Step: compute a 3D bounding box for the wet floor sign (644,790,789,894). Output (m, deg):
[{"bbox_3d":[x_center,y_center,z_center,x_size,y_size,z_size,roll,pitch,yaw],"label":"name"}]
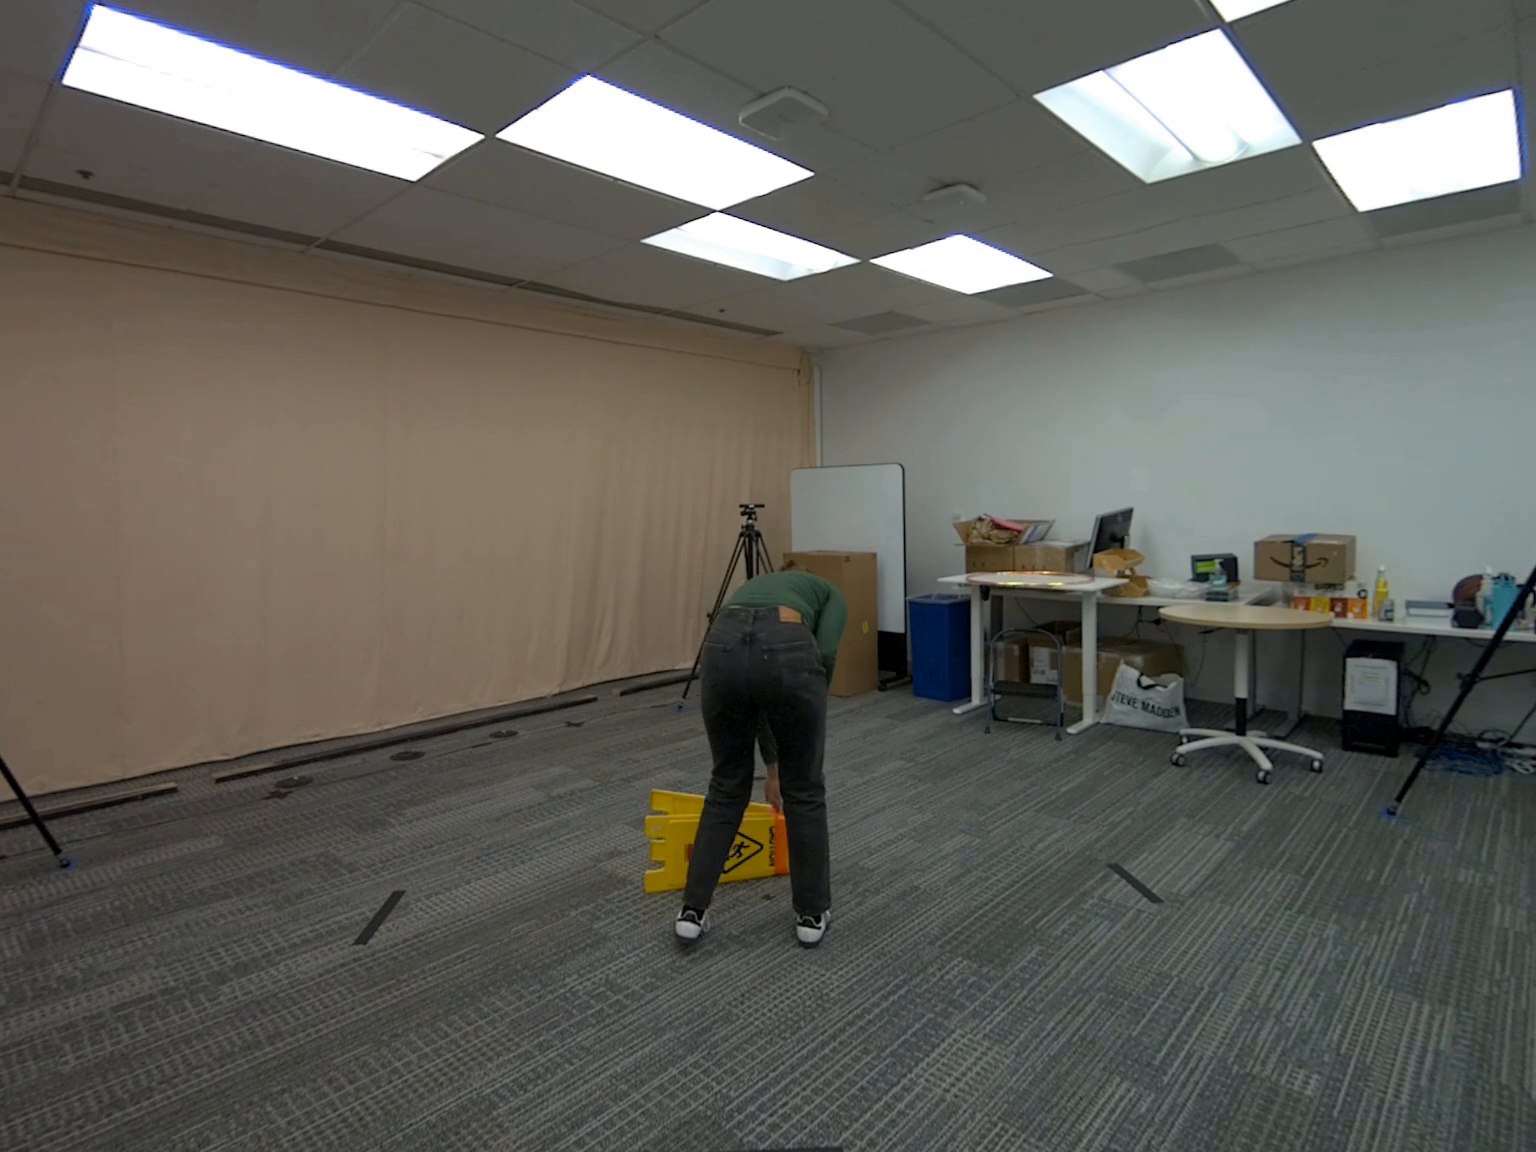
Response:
[{"bbox_3d":[-0.126,0.992,3.183,0.645,0.282,0.291,1,4,-2],"label":"wet floor sign"}]
